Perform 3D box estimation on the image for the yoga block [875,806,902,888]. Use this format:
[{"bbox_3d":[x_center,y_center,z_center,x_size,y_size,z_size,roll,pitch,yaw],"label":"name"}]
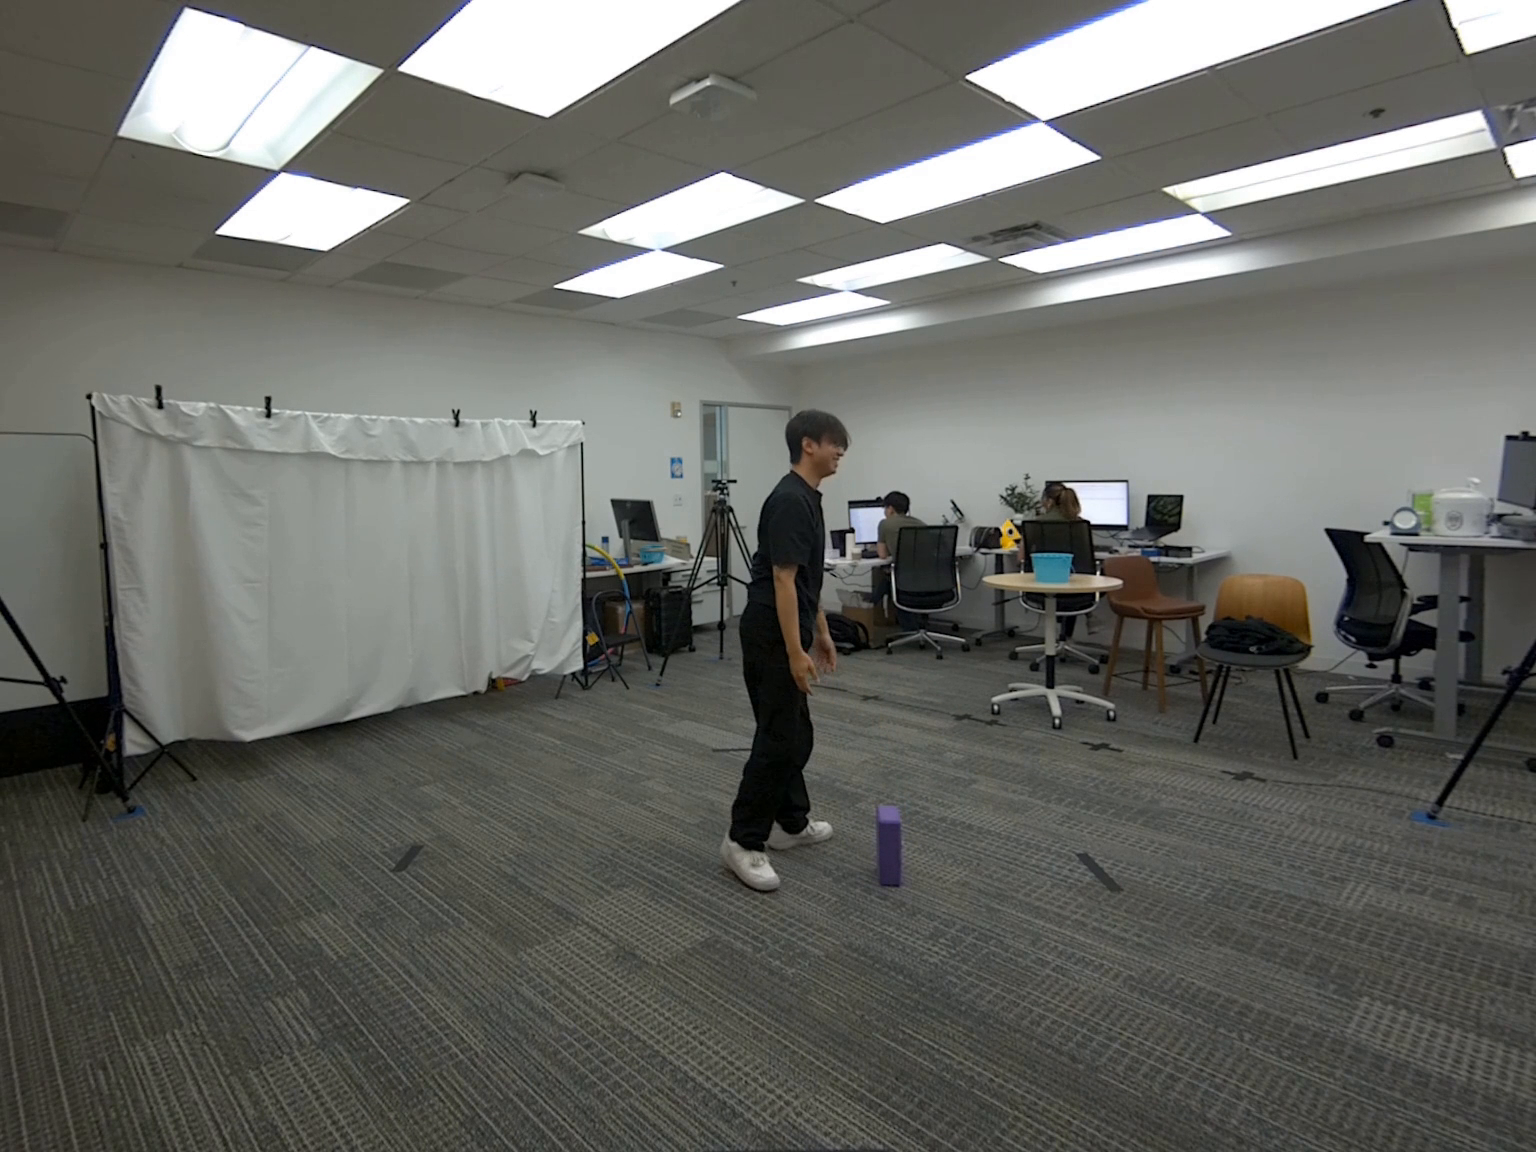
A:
[{"bbox_3d":[0.423,0.941,2.976,0.077,0.229,0.148,-1,3,4],"label":"yoga block"}]
